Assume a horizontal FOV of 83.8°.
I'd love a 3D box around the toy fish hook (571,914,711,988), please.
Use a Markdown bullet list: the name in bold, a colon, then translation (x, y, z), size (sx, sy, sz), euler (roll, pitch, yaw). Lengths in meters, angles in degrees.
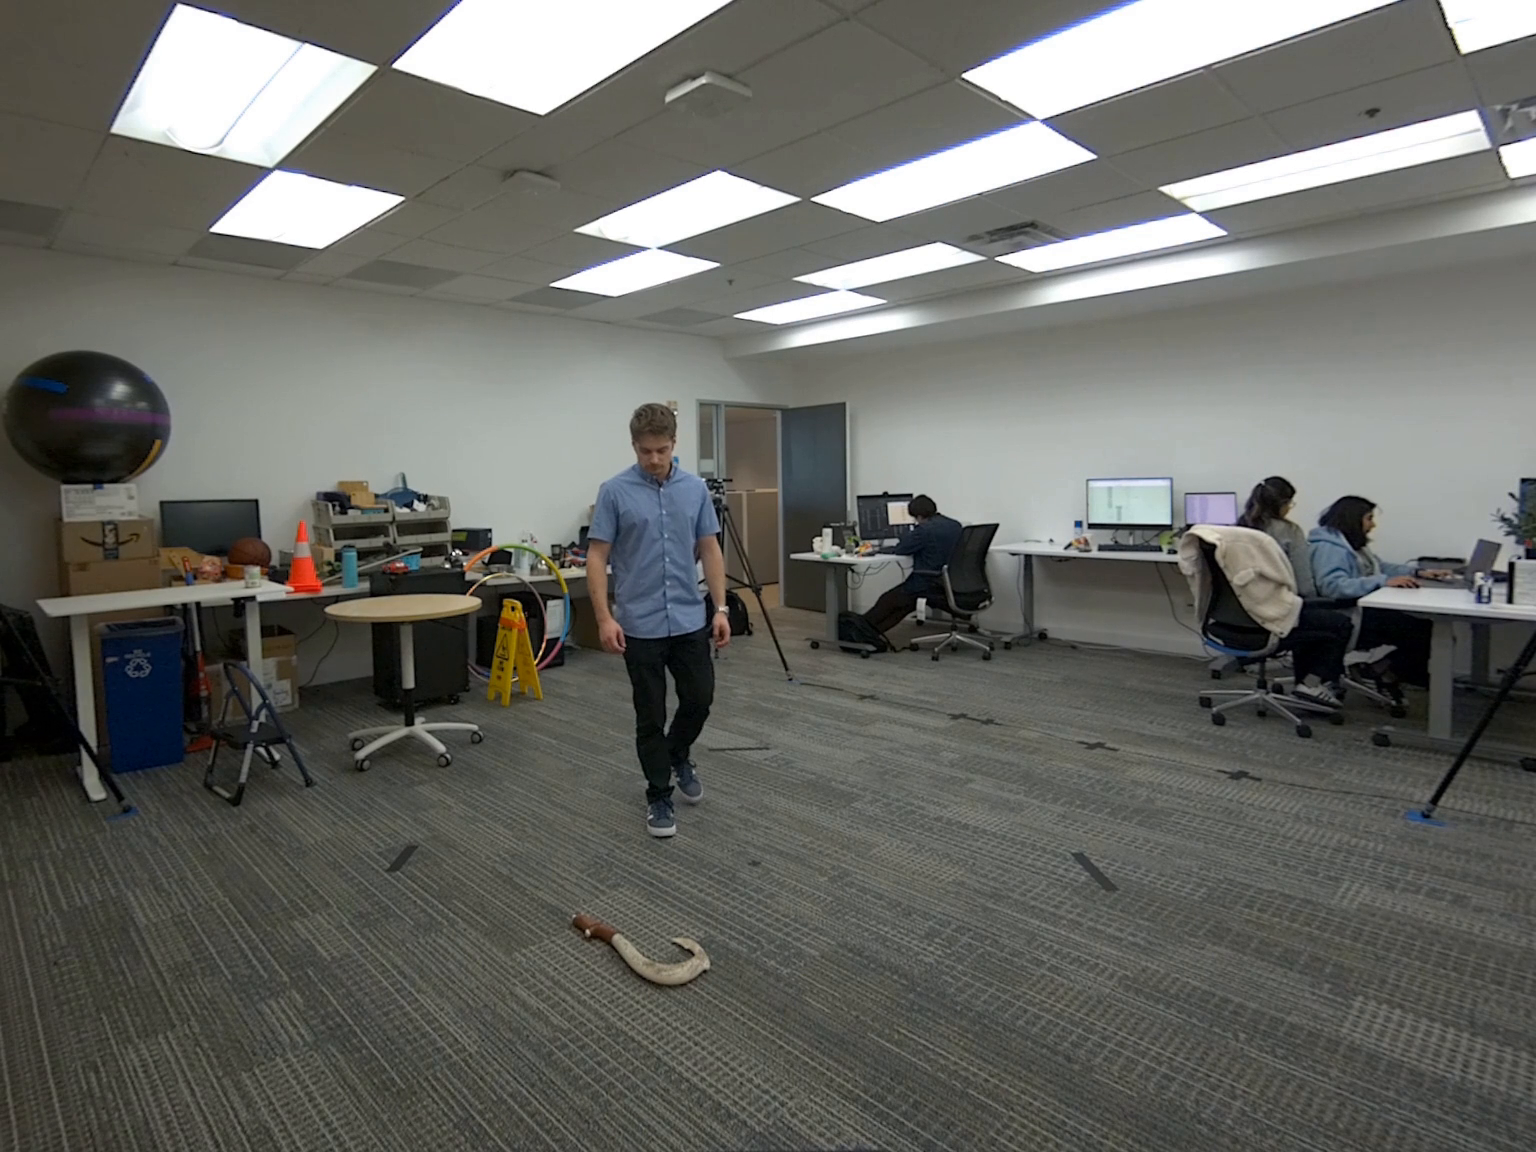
- **toy fish hook**: translation (-0.386, 1.101, 2.569), size (0.522, 0.048, 0.218), euler (5, 2, 43)
